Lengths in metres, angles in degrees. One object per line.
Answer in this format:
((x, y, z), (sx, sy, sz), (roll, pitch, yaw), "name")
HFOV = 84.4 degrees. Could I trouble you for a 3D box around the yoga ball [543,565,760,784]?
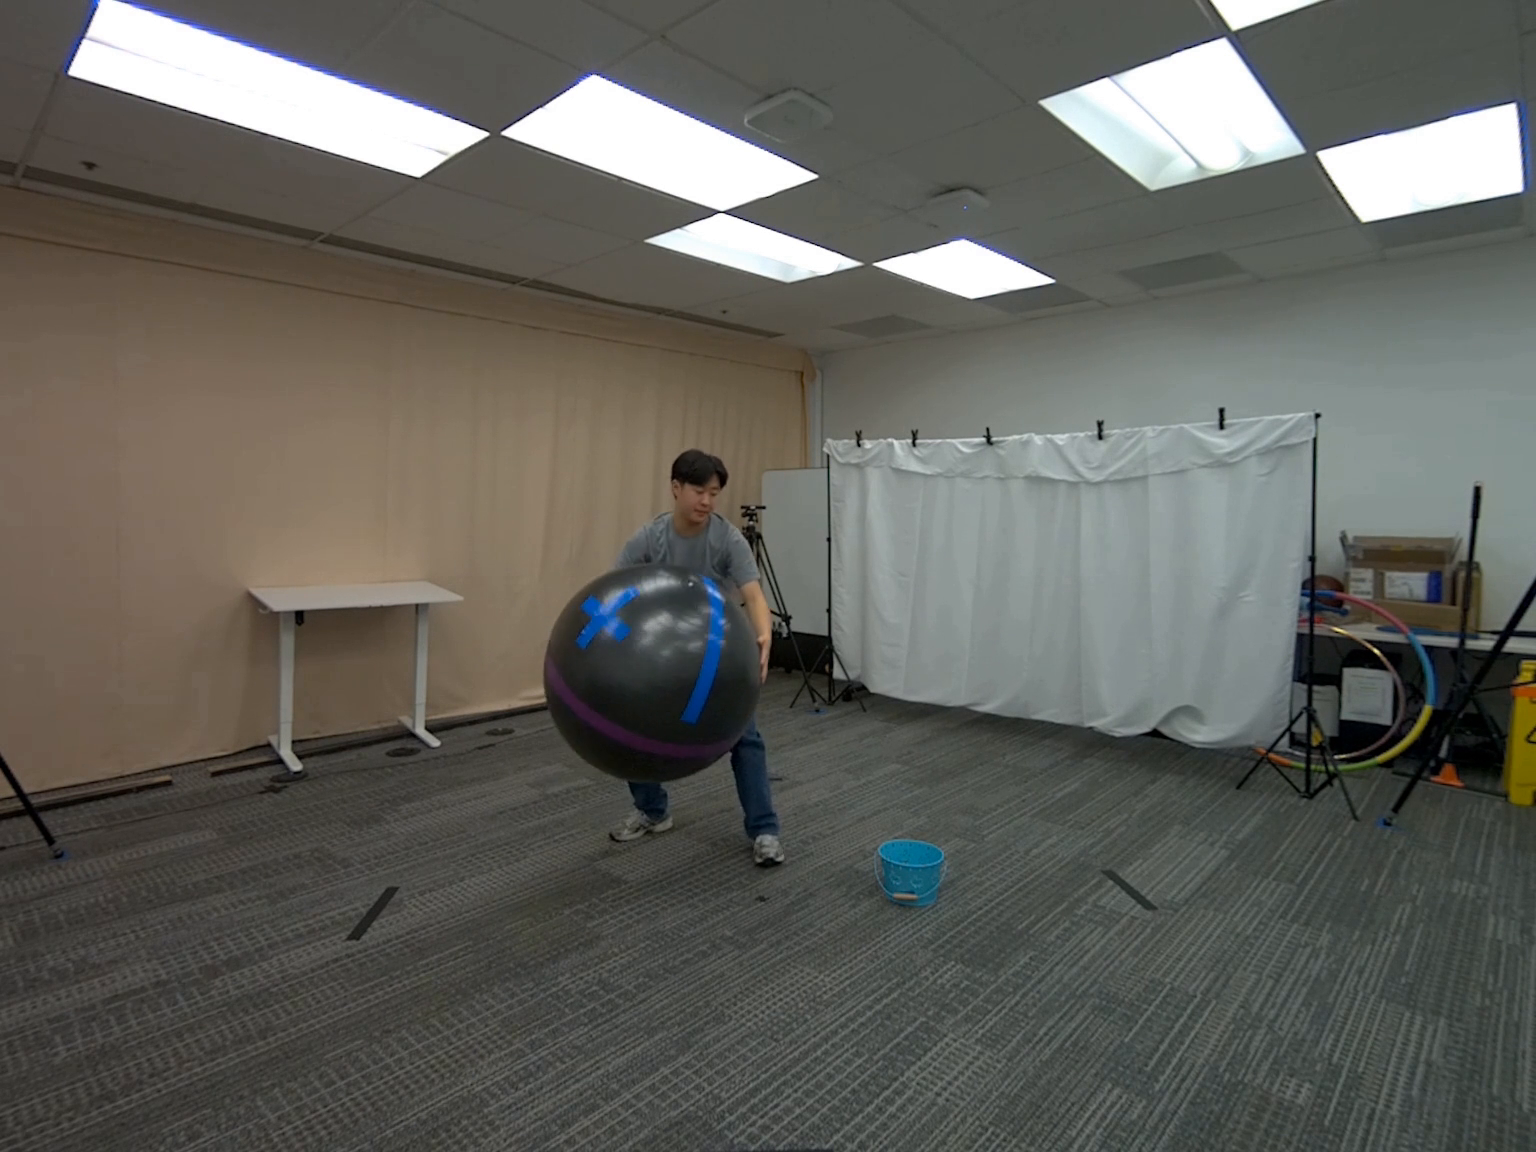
((-0.392, 0.347, 2.955), (0.757, 0.756, 0.760), (0, 4, -2), "yoga ball")
